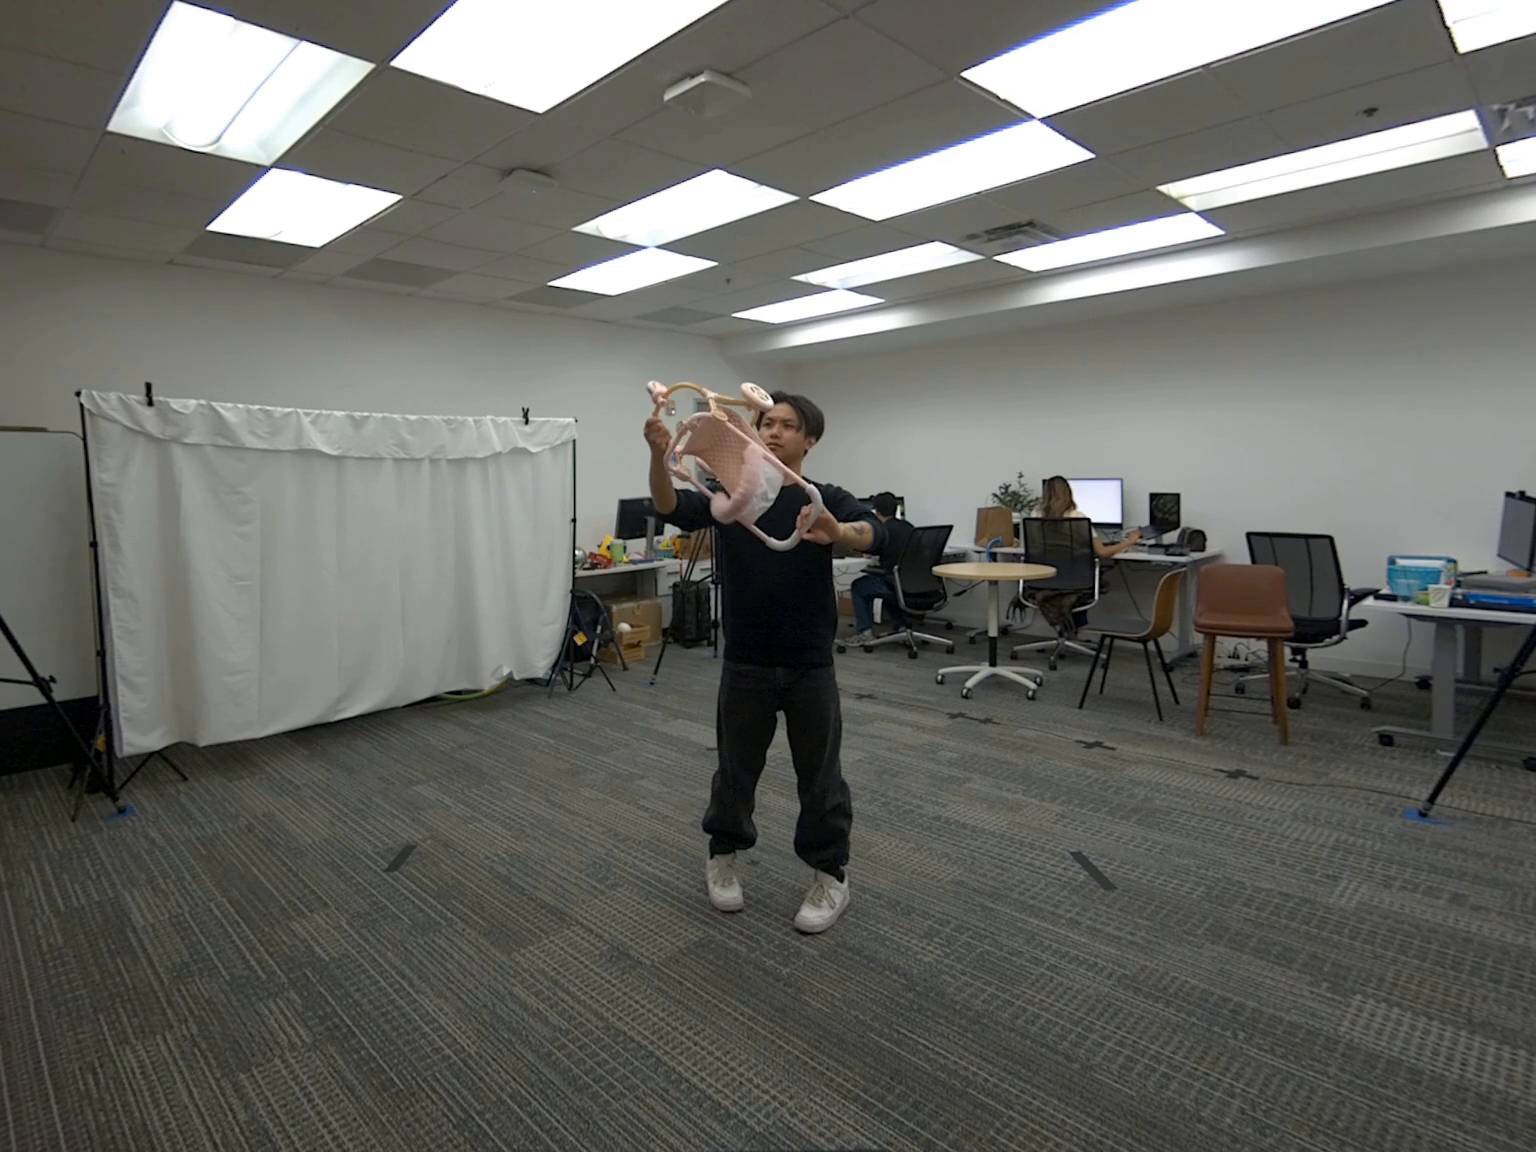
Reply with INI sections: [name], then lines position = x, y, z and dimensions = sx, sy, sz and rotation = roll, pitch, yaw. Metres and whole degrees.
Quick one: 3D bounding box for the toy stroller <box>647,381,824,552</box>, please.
[toy stroller]
position = -0.114, -0.329, 2.301
dimensions = 0.329, 0.281, 0.555
rotation = 16, 34, -41
